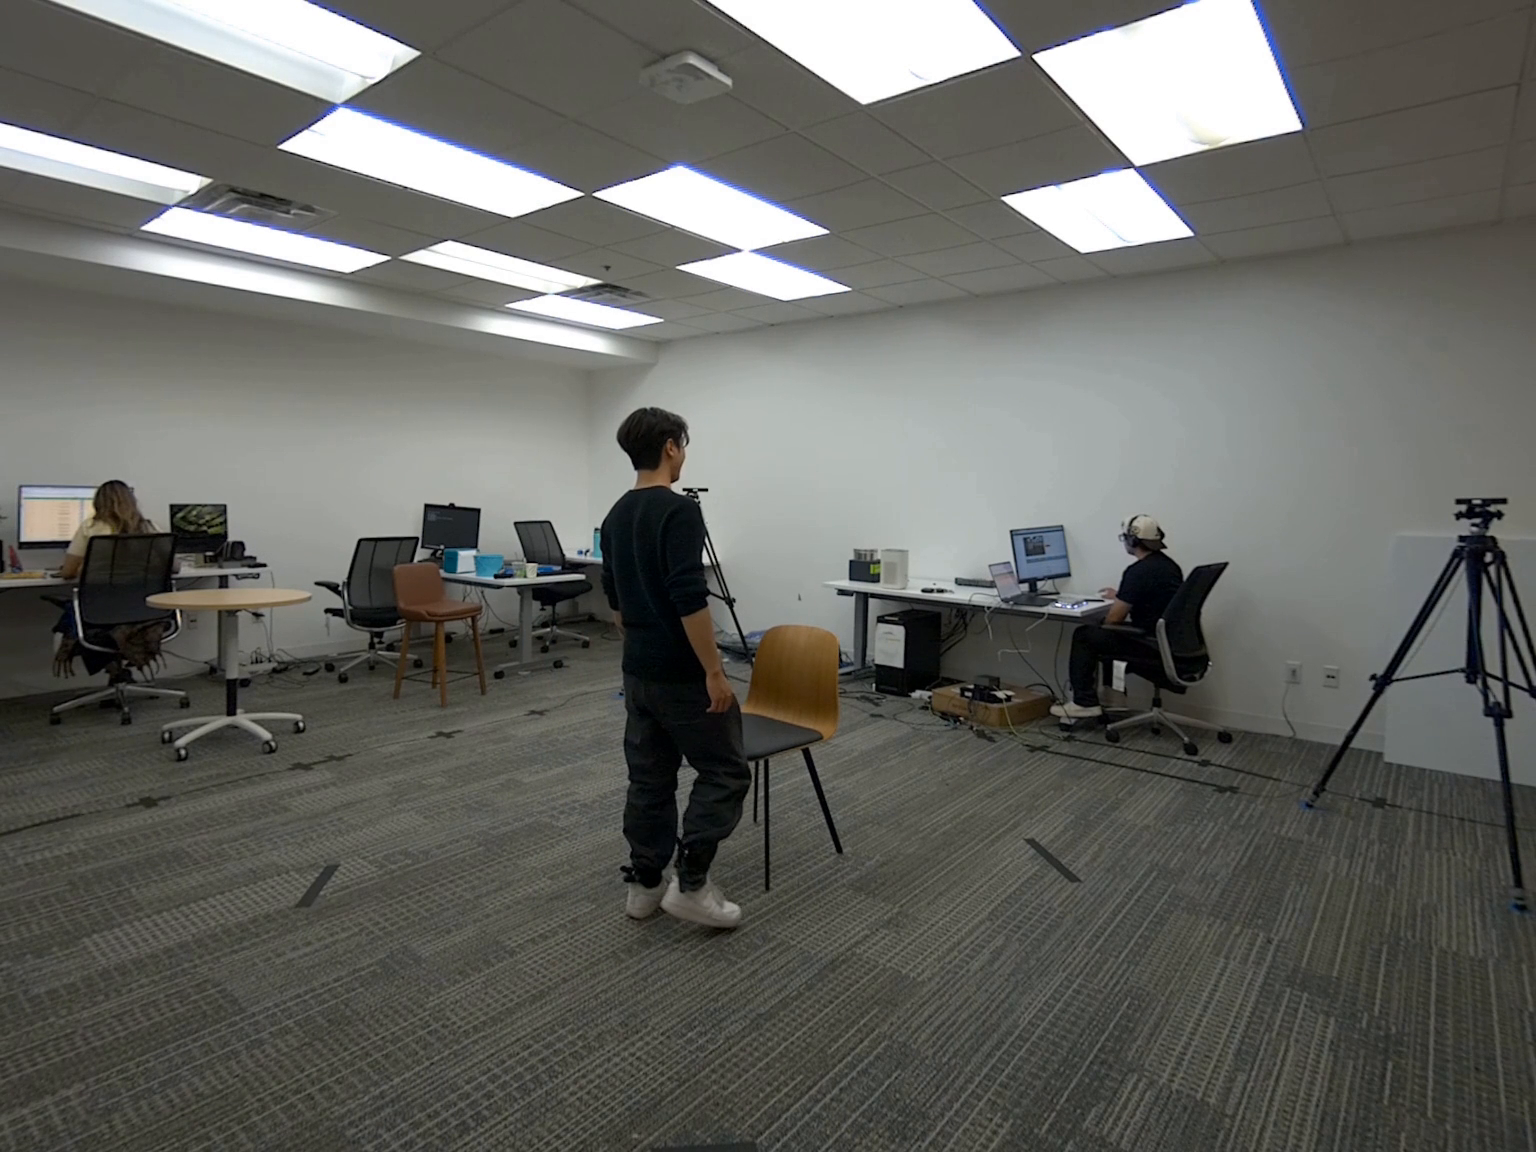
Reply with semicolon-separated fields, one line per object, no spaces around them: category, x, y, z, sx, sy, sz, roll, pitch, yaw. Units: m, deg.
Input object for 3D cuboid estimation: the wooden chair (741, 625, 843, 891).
wooden chair;-0.031;0.634;3.234;0.494;0.877;0.506;5;1;41
